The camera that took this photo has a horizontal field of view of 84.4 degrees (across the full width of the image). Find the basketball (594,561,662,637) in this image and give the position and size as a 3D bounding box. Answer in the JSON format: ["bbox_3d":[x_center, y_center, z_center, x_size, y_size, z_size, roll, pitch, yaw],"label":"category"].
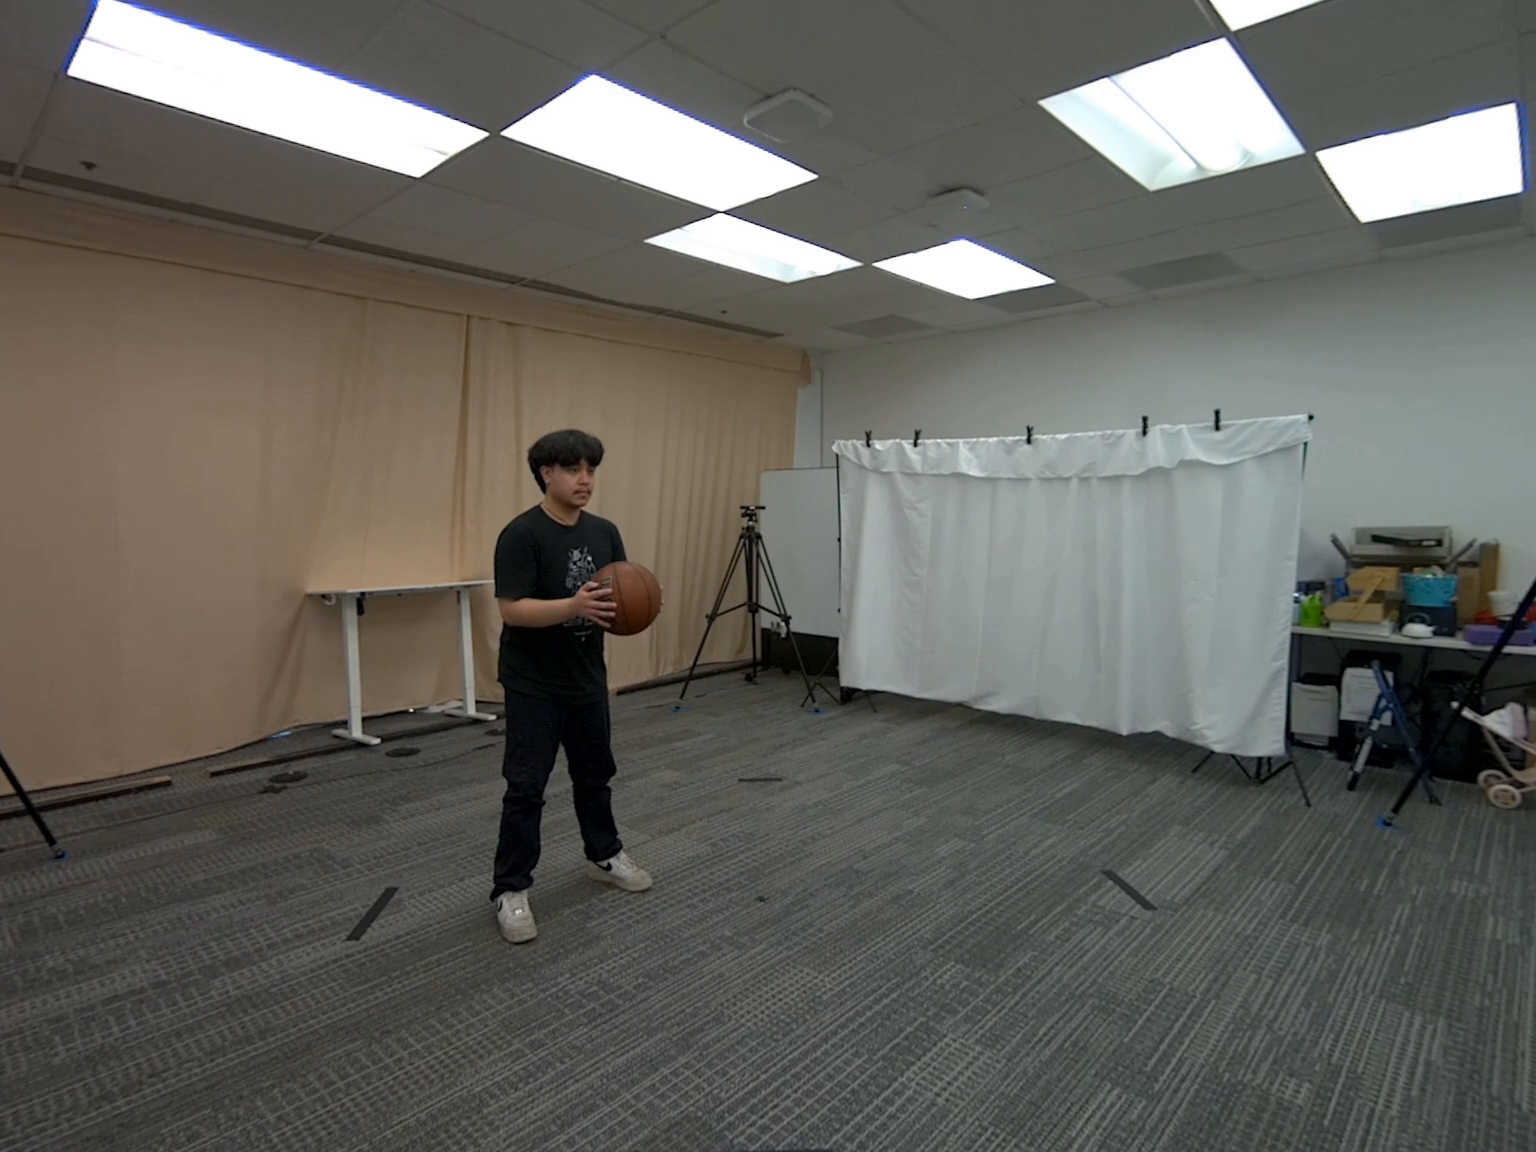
[{"bbox_3d":[-0.460,0.079,2.672,0.236,0.235,0.237,0,4,-2],"label":"basketball"}]
